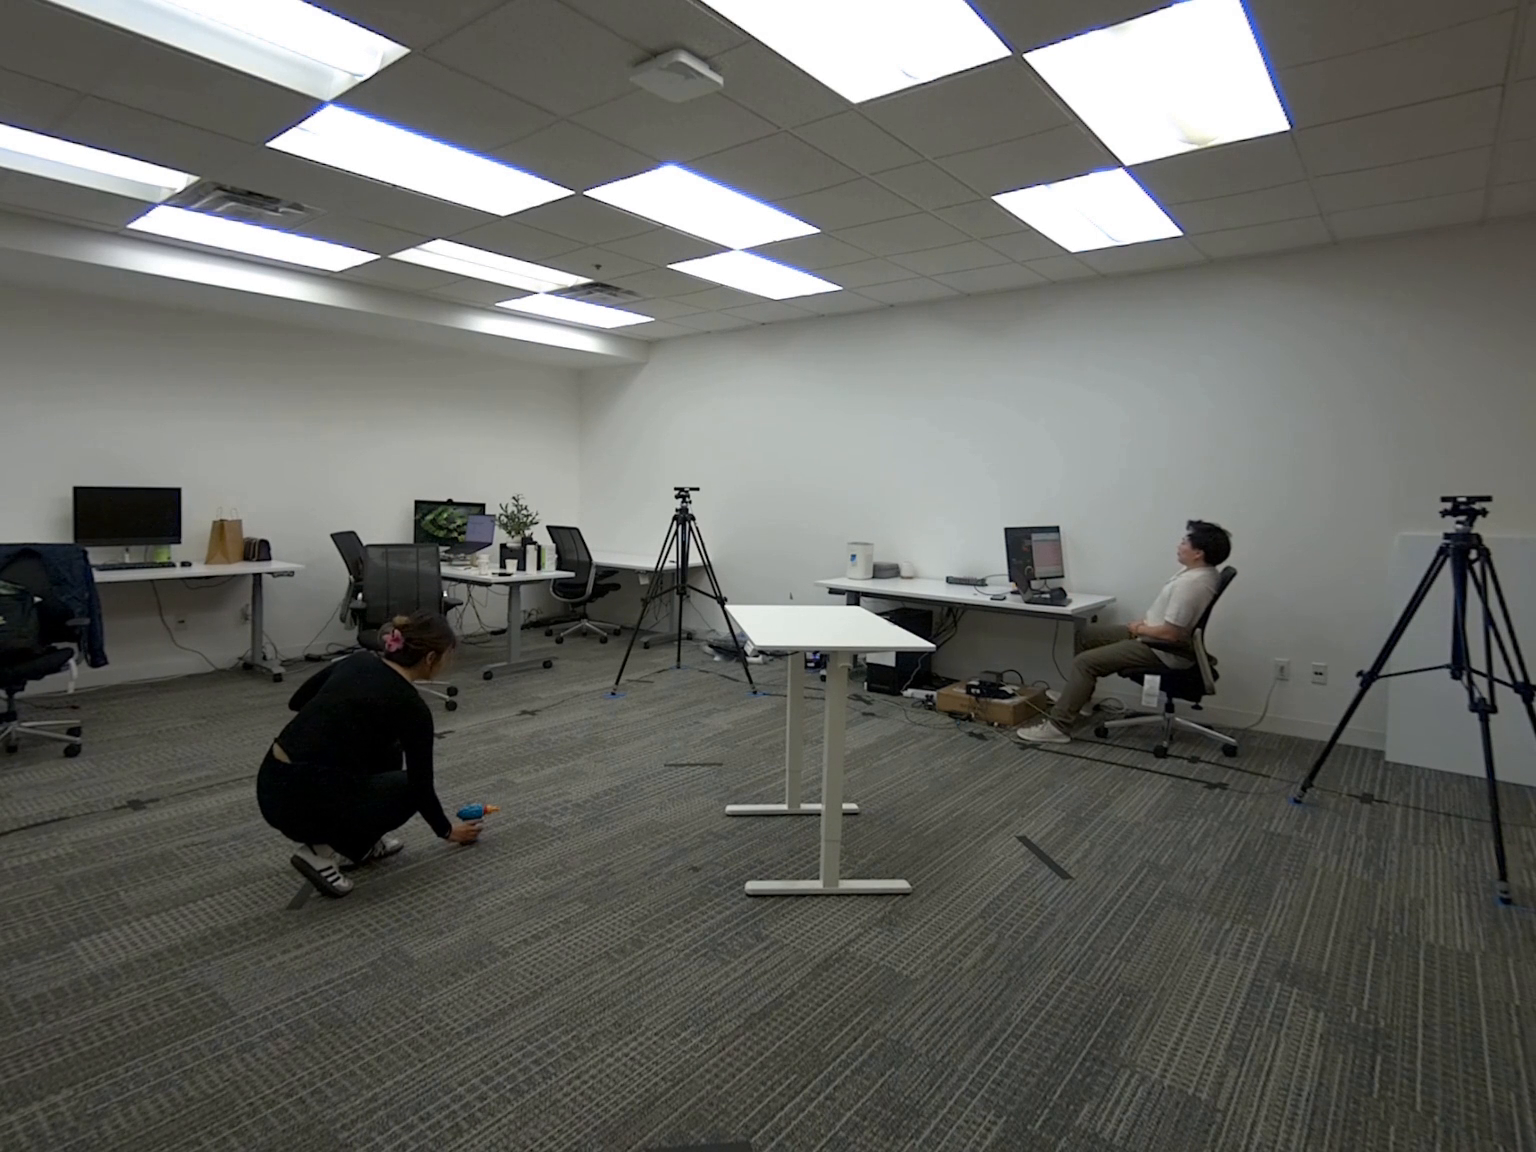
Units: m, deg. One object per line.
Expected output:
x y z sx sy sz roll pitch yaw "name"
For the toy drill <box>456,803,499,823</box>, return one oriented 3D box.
-1.157 0.967 3.322 0.165 0.146 0.063 0 2 -34 "toy drill"
